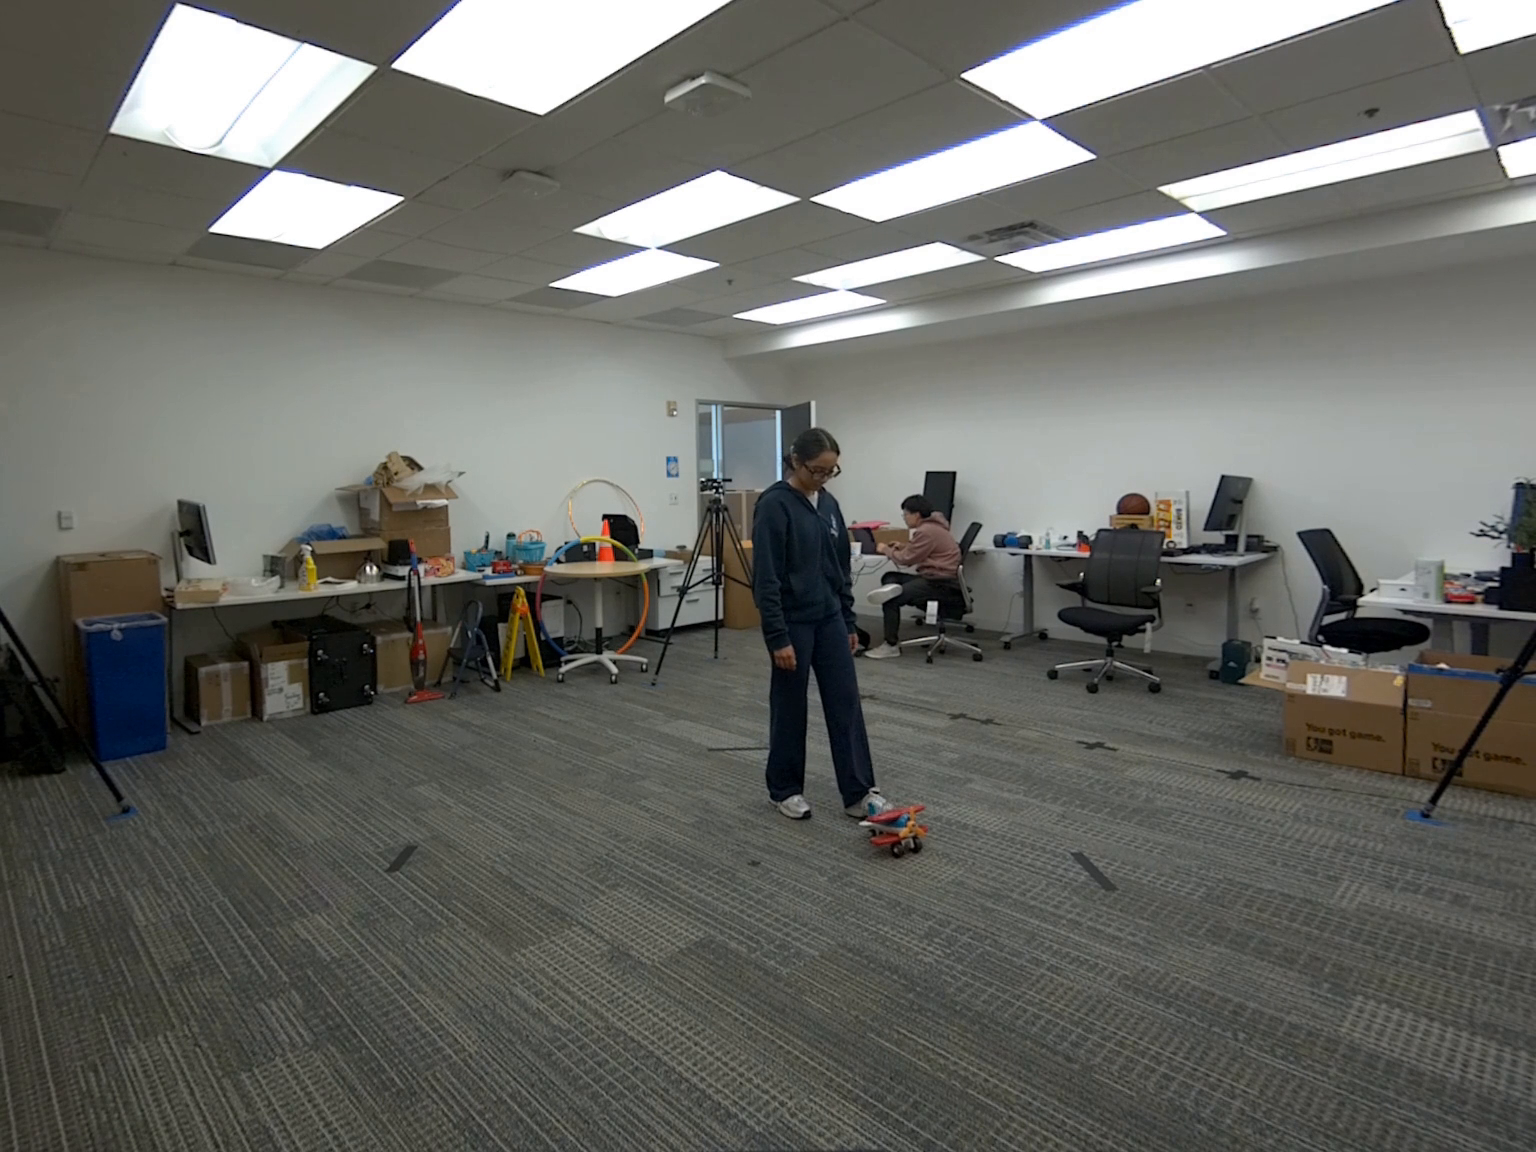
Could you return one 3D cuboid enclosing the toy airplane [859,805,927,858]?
[{"bbox_3d":[0.449,0.949,3.225,0.266,0.155,0.245,4,8,31],"label":"toy airplane"}]
